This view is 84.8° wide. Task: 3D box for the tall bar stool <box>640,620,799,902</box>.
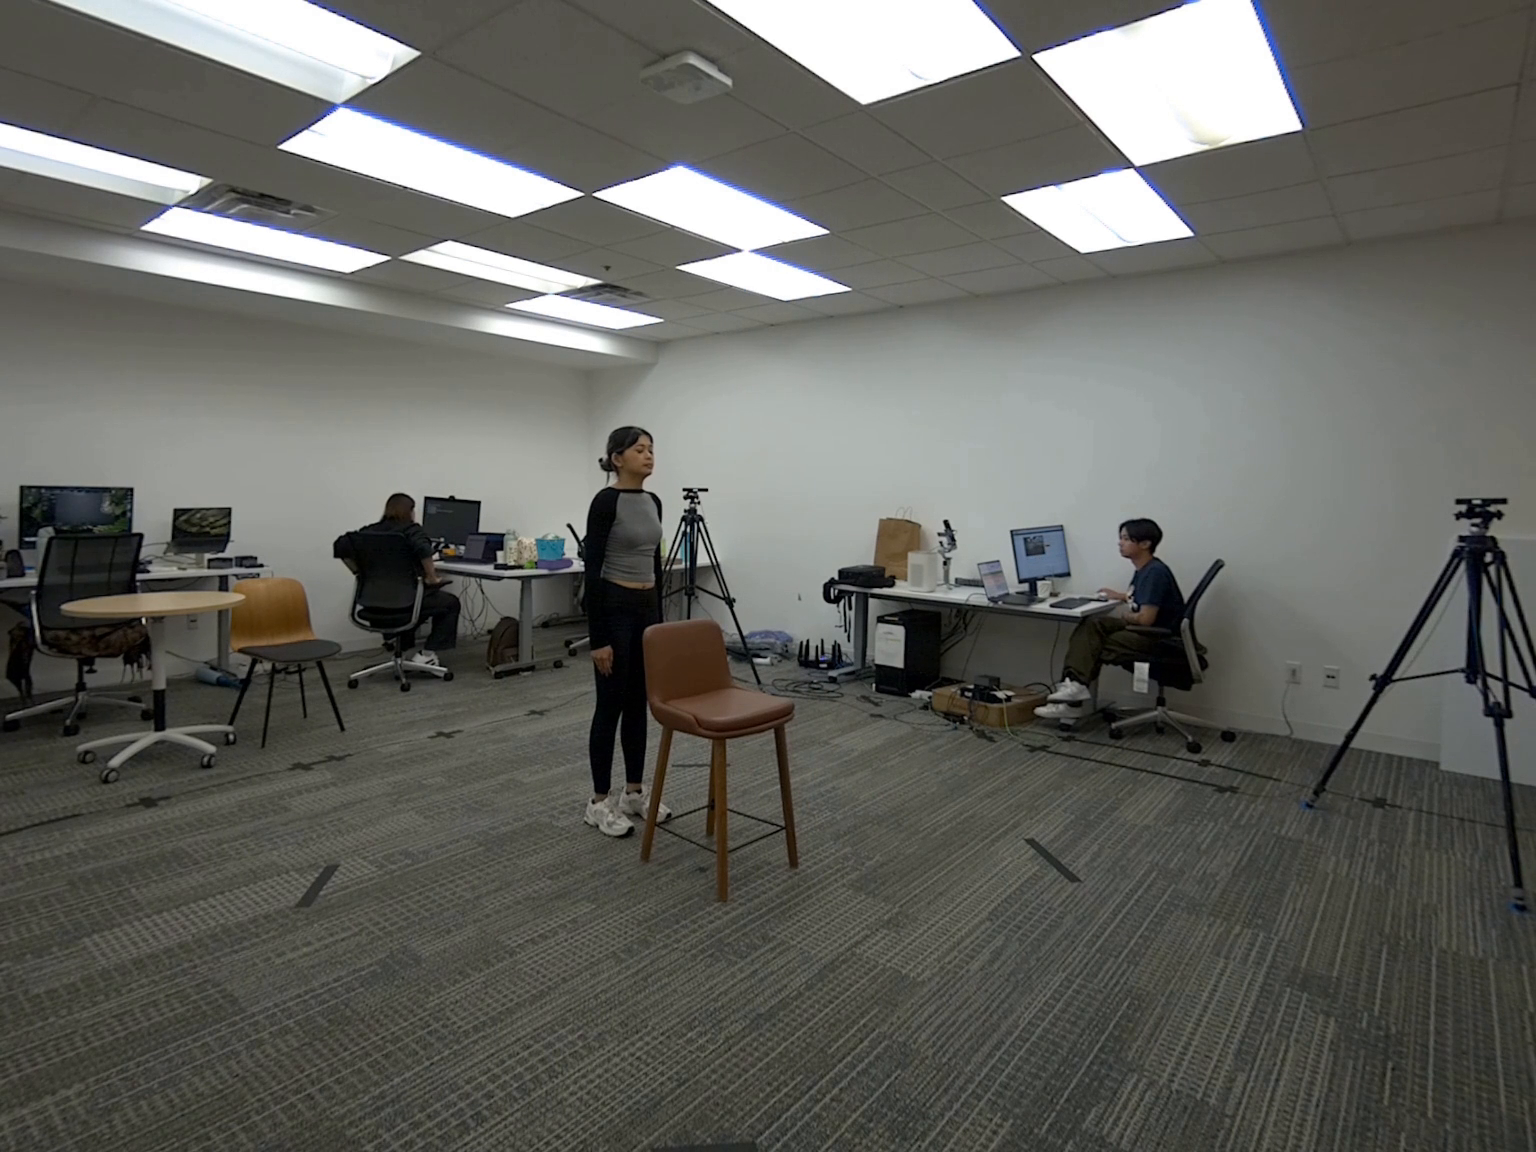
[{"bbox_3d":[-0.192,0.629,3.146,0.483,0.889,0.442,1,1,43],"label":"tall bar stool"}]
